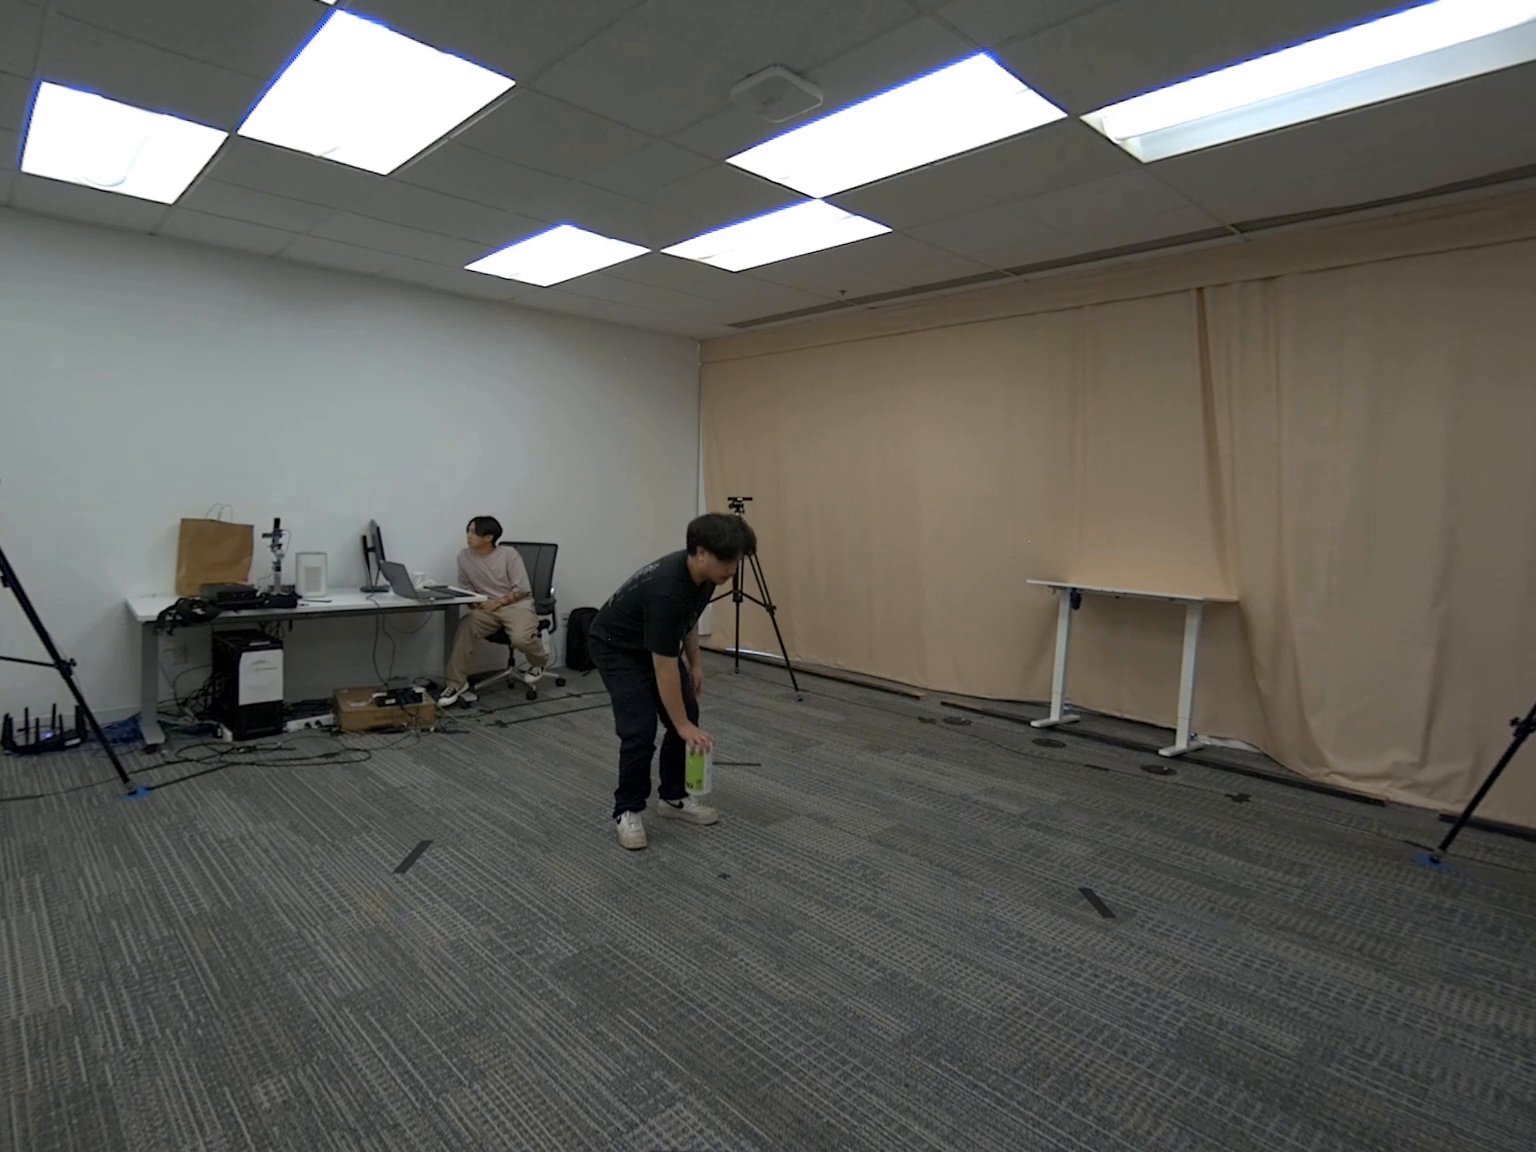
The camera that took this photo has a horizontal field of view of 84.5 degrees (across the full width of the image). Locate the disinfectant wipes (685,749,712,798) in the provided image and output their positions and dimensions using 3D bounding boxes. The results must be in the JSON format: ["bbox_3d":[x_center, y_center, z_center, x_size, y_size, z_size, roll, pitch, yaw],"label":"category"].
[{"bbox_3d":[-0.293,0.764,3.403,0.118,0.216,0.119,2,10,-2],"label":"disinfectant wipes"}]
